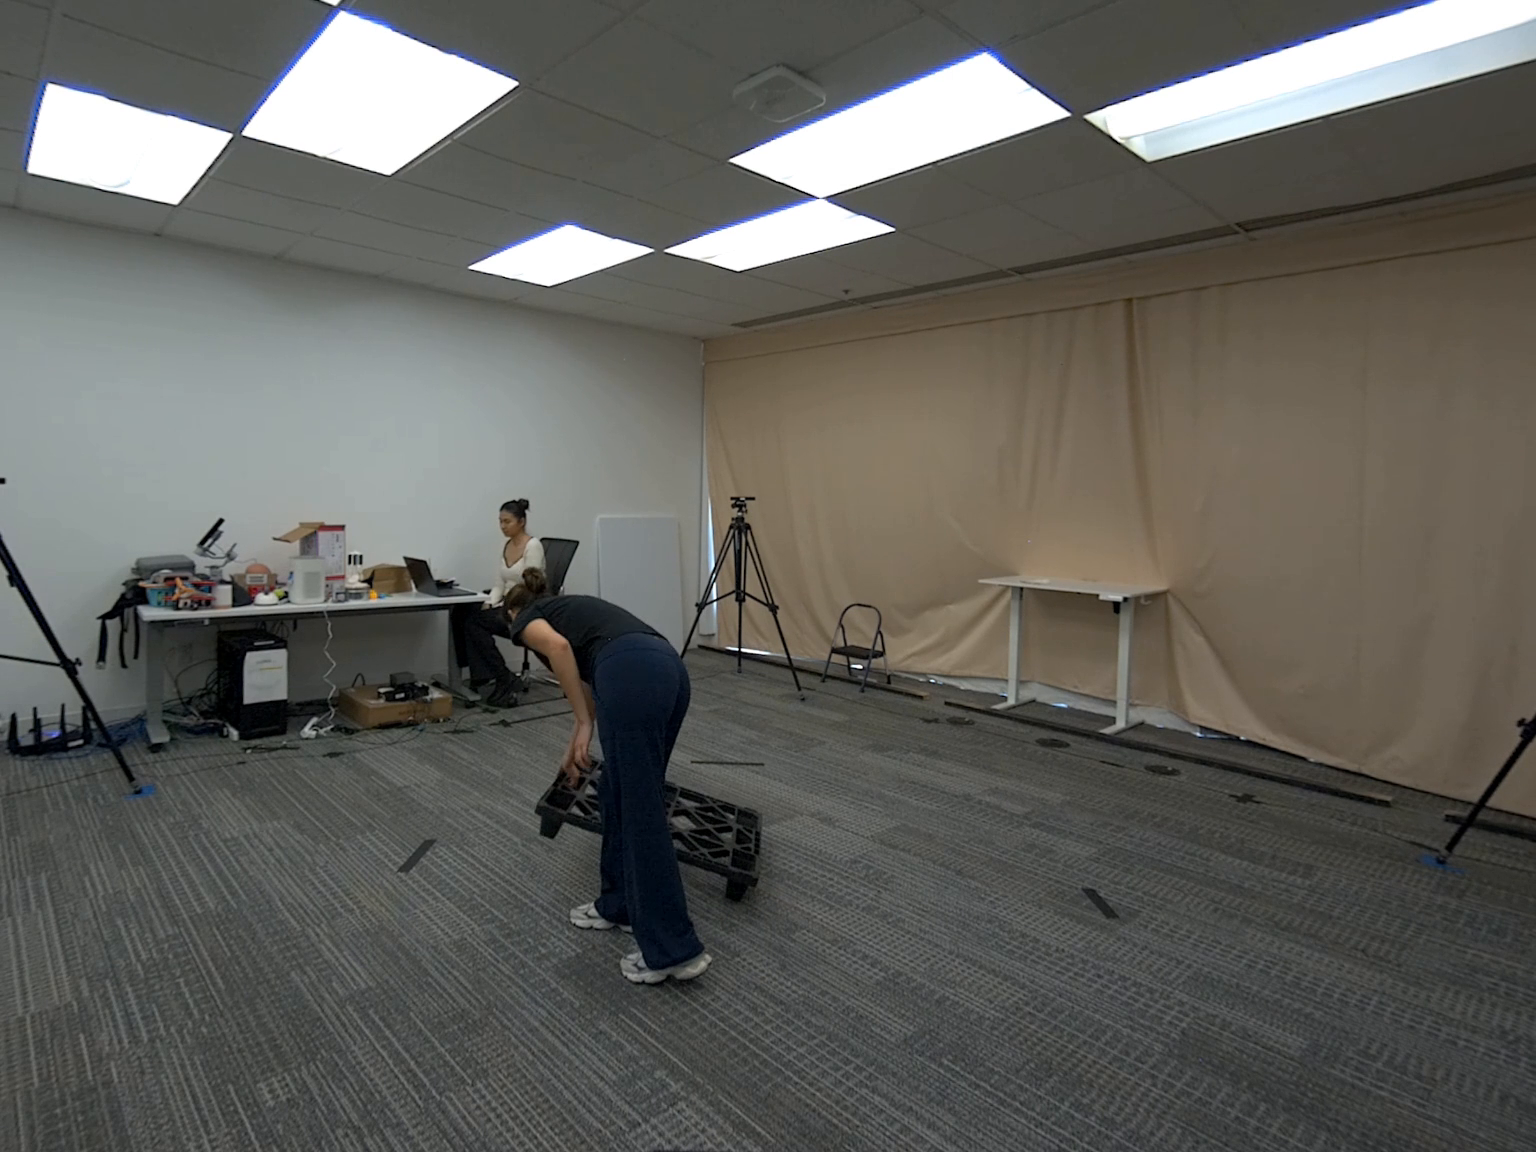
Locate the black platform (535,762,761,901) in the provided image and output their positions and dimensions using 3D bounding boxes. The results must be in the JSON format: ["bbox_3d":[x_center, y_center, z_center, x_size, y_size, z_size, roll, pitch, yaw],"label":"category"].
[{"bbox_3d":[-0.431,0.932,3.130,0.807,0.143,0.605,18,4,1],"label":"black platform"}]
